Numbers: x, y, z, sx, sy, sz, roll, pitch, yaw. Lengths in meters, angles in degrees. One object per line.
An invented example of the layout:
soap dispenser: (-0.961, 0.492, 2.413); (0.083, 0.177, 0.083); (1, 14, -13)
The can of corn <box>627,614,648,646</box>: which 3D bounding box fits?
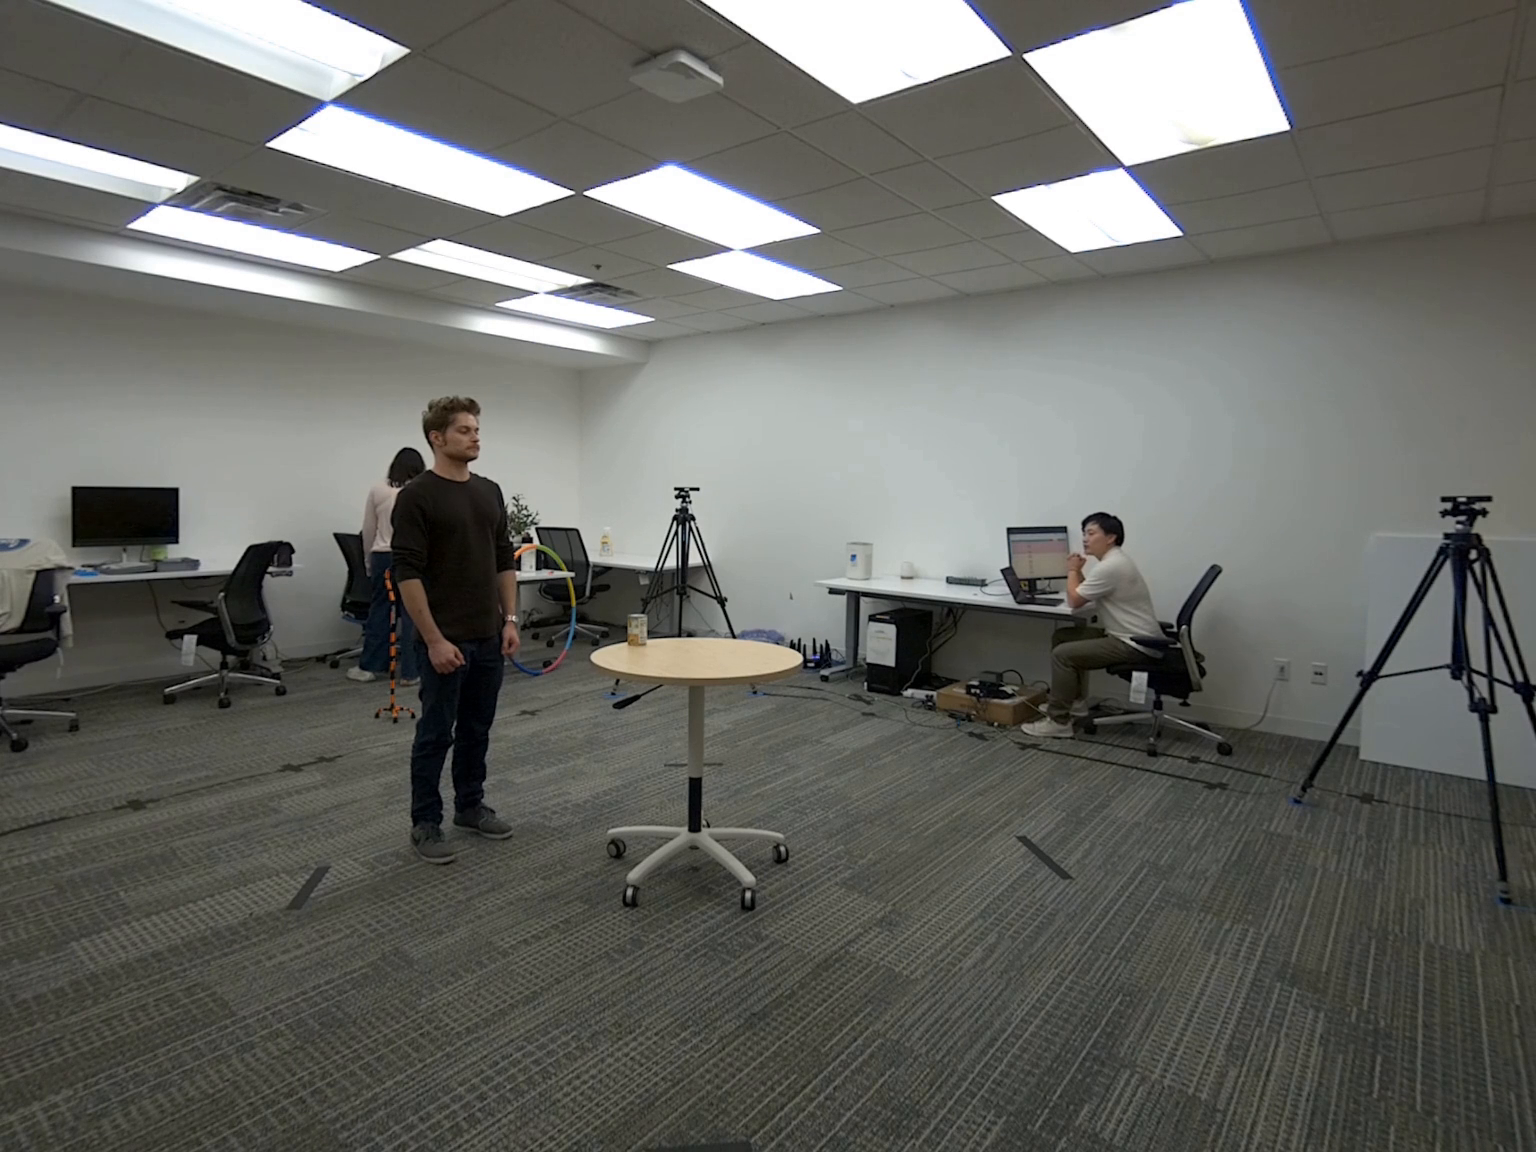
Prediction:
can of corn: (-0.522, 0.208, 3.297); (0.074, 0.110, 0.074); (-1, 4, -2)
